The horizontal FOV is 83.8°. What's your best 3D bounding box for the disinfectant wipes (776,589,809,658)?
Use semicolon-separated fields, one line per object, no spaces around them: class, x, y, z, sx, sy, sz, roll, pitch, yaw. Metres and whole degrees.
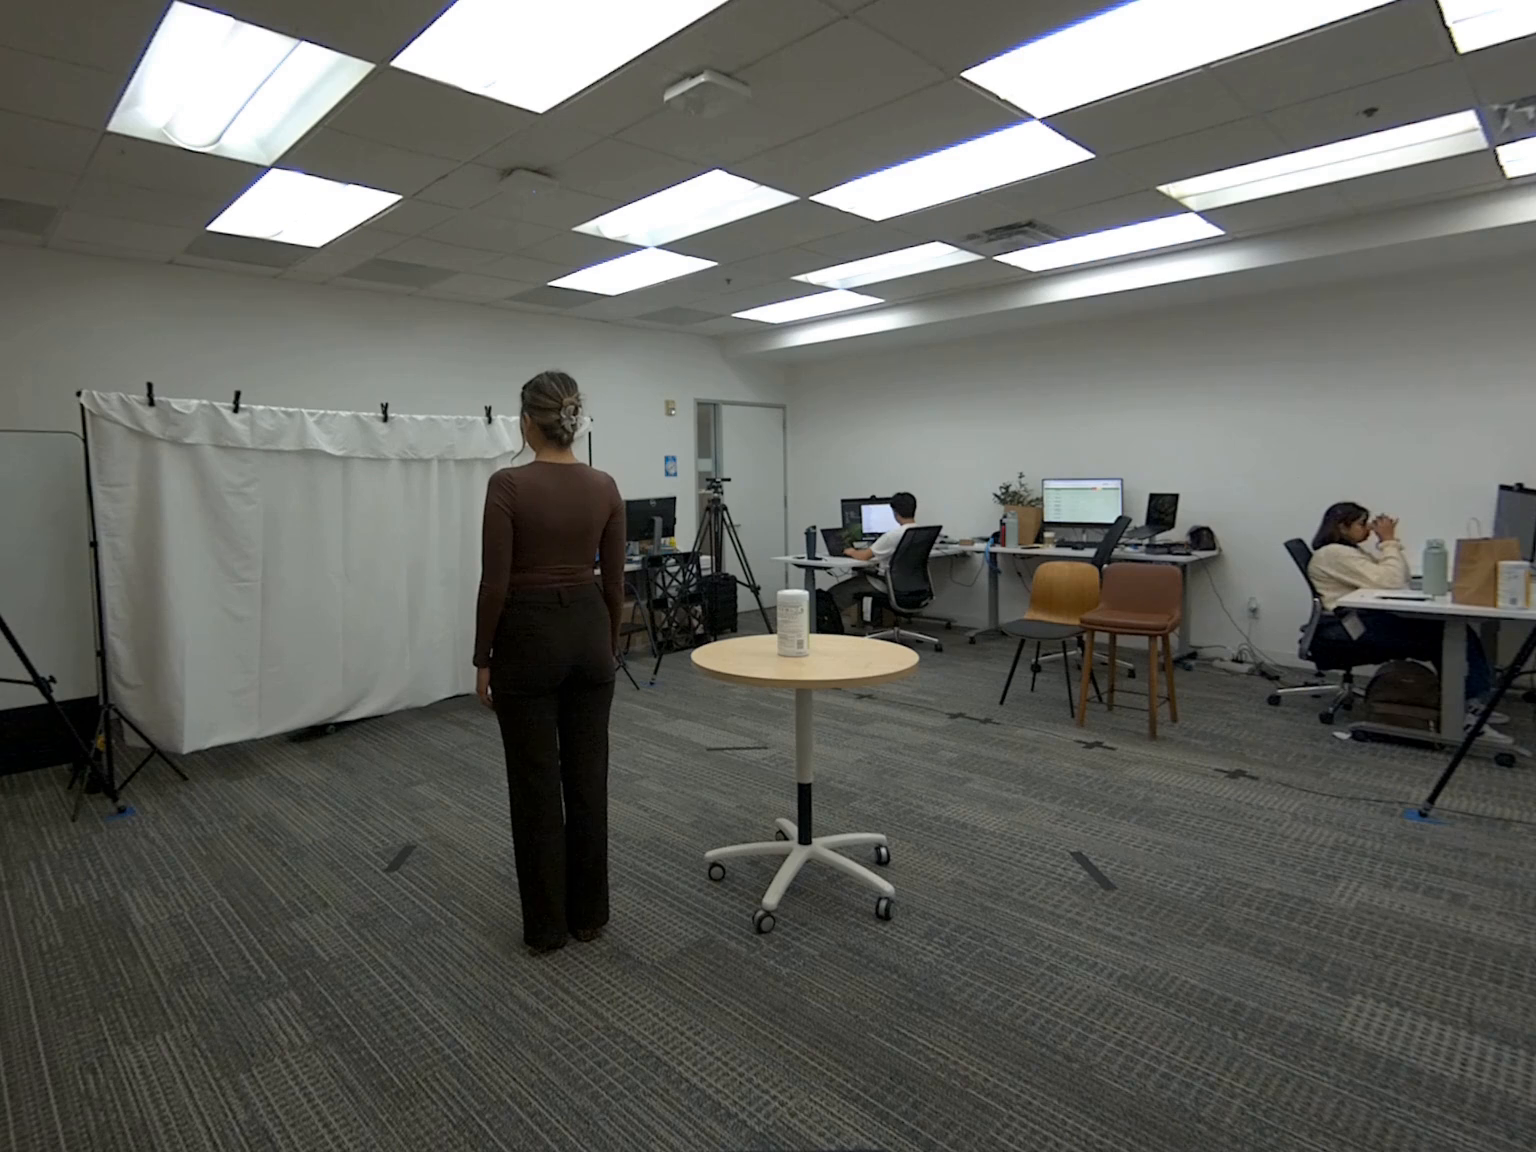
disinfectant wipes;0.090;0.160;2.893;0.118;0.217;0.118;-2;3;-2
